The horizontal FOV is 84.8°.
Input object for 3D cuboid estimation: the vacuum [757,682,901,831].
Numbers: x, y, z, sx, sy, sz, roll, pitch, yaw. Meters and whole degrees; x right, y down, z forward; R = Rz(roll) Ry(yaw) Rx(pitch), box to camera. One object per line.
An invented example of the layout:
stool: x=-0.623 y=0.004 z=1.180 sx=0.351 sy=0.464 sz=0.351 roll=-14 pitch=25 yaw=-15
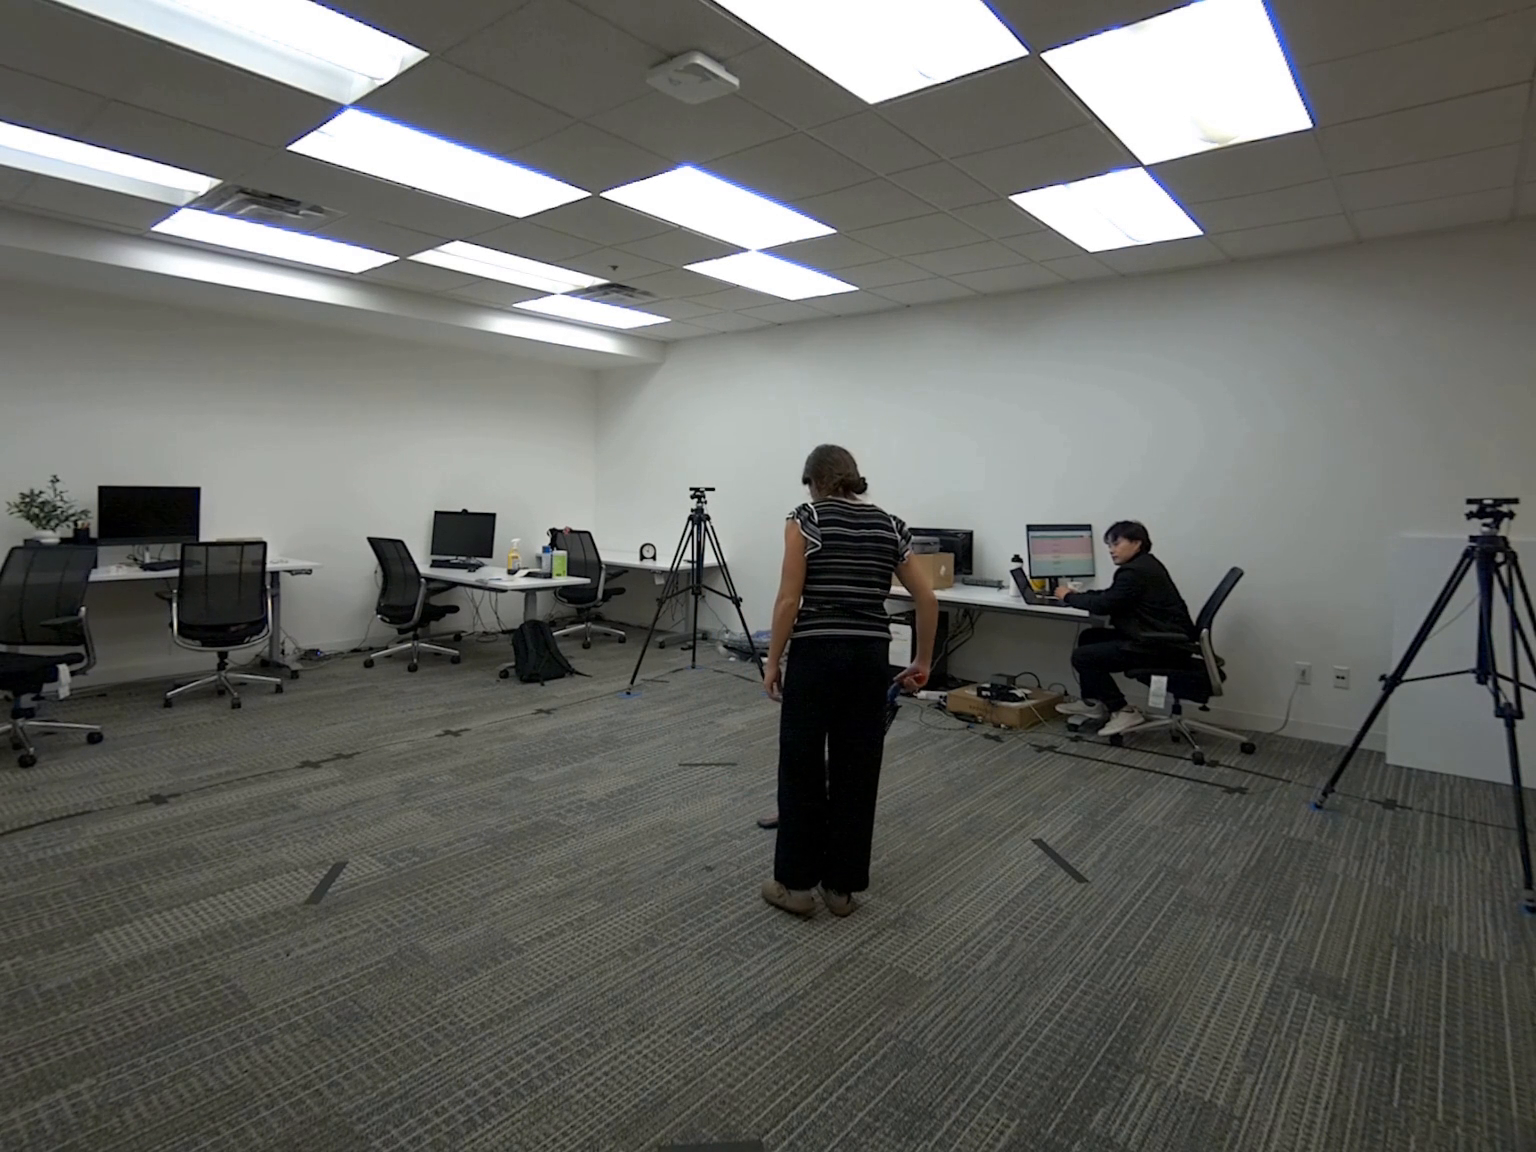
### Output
vacuum: x=0.275 y=0.682 z=3.212 sx=0.246 sy=0.149 sz=1.040 roll=-2 pitch=-38 yaw=-32
